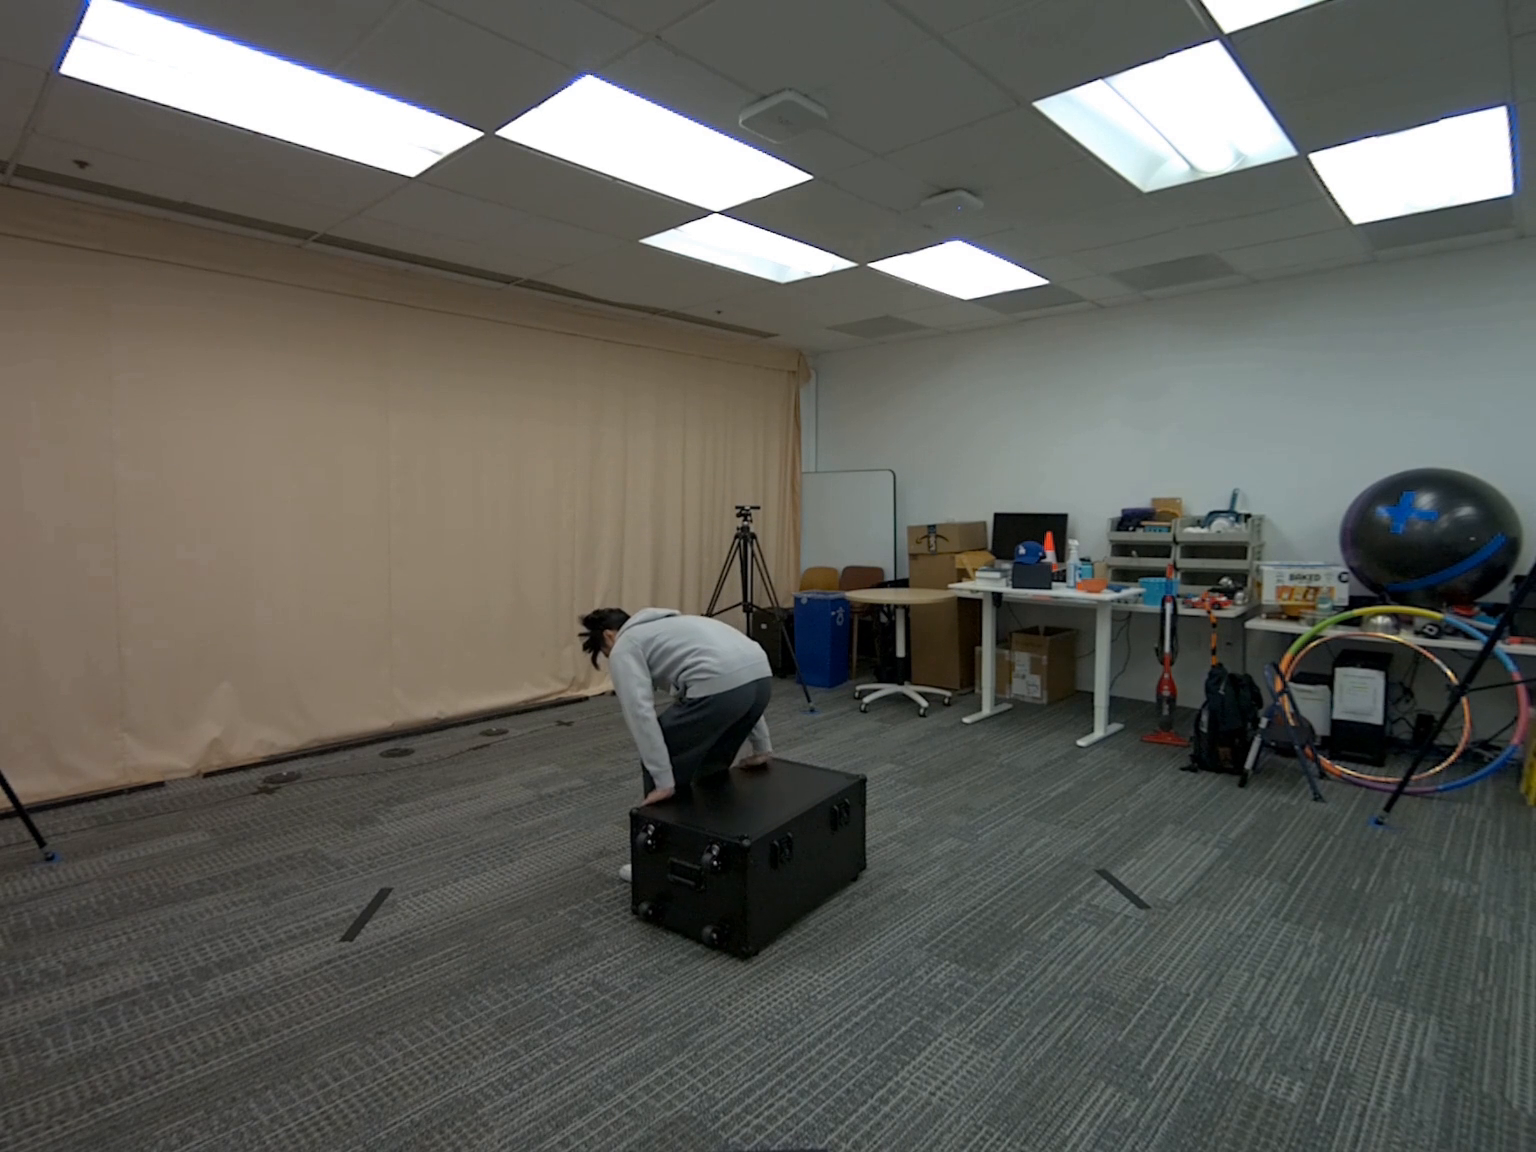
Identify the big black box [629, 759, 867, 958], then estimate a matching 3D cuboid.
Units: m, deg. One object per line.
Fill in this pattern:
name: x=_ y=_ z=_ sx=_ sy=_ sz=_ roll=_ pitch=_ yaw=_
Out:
big black box: x=-0.020 y=0.952 z=3.012 sx=0.538 sy=0.395 sz=0.837 roll=3 pitch=6 yaw=35
